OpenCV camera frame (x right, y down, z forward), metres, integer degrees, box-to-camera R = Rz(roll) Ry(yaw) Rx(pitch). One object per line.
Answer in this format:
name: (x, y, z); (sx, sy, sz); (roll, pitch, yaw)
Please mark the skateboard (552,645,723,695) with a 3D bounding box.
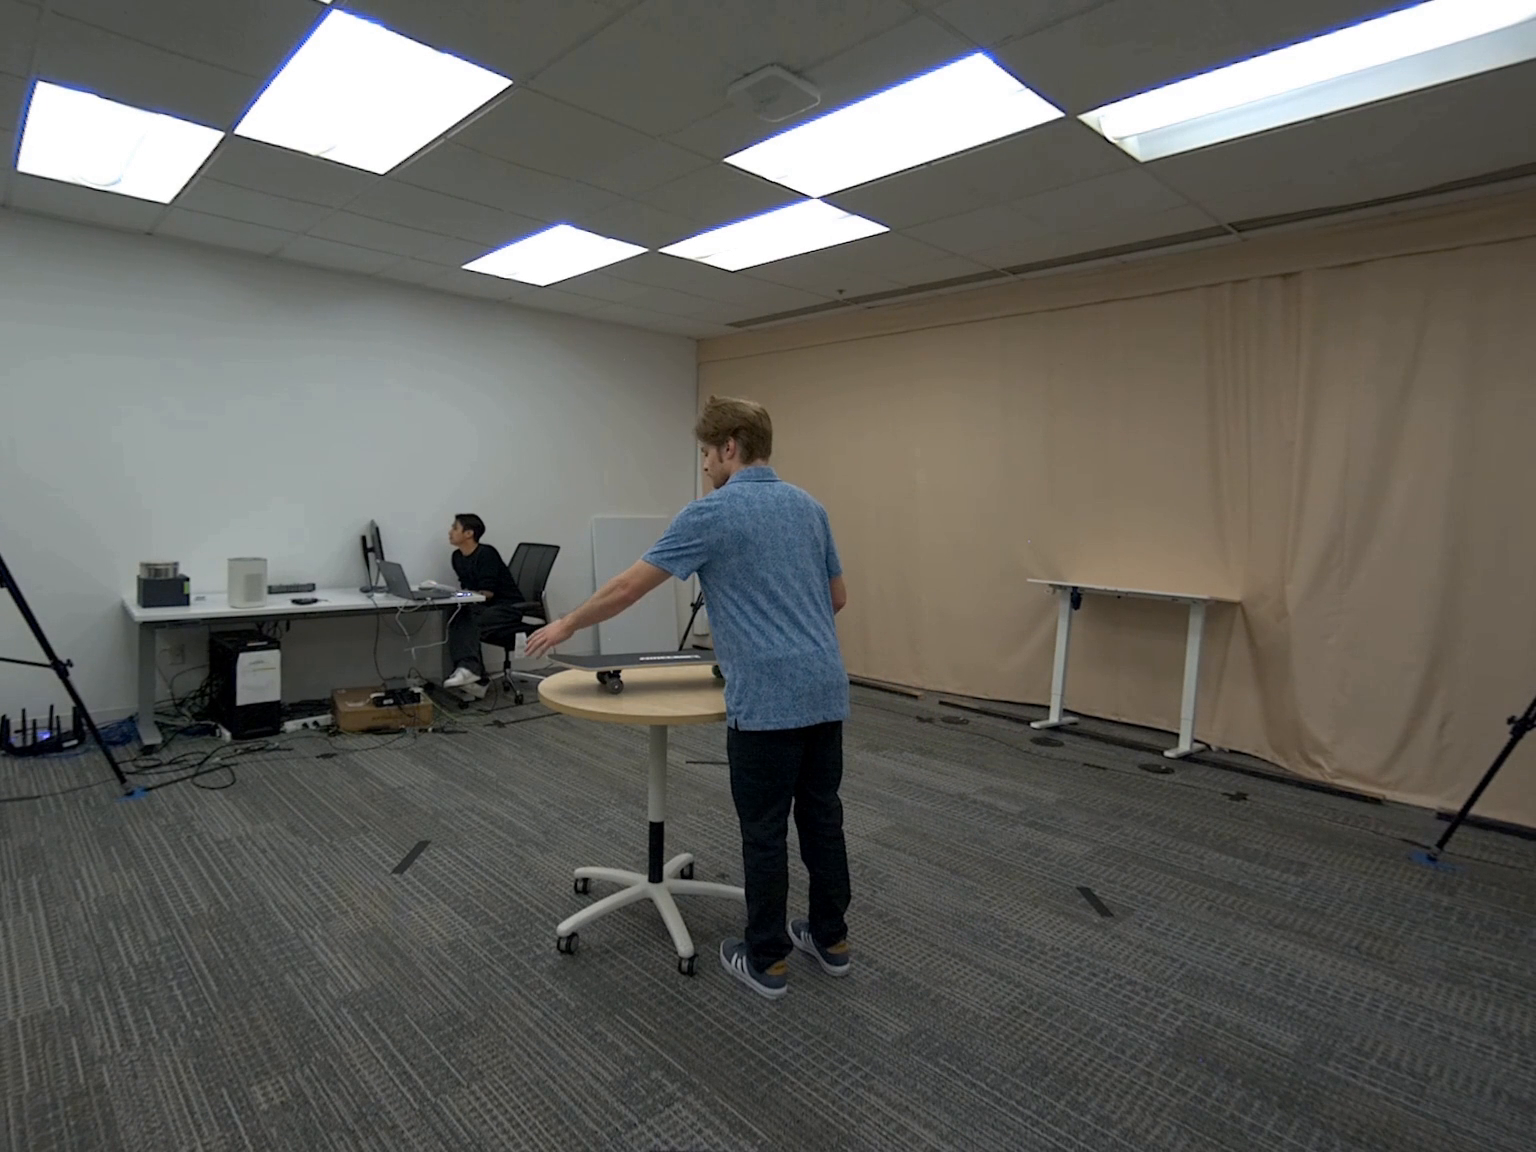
skateboard: (-0.326, 0.304, 2.706); (0.773, 0.110, 0.197); (0, 6, -21)
